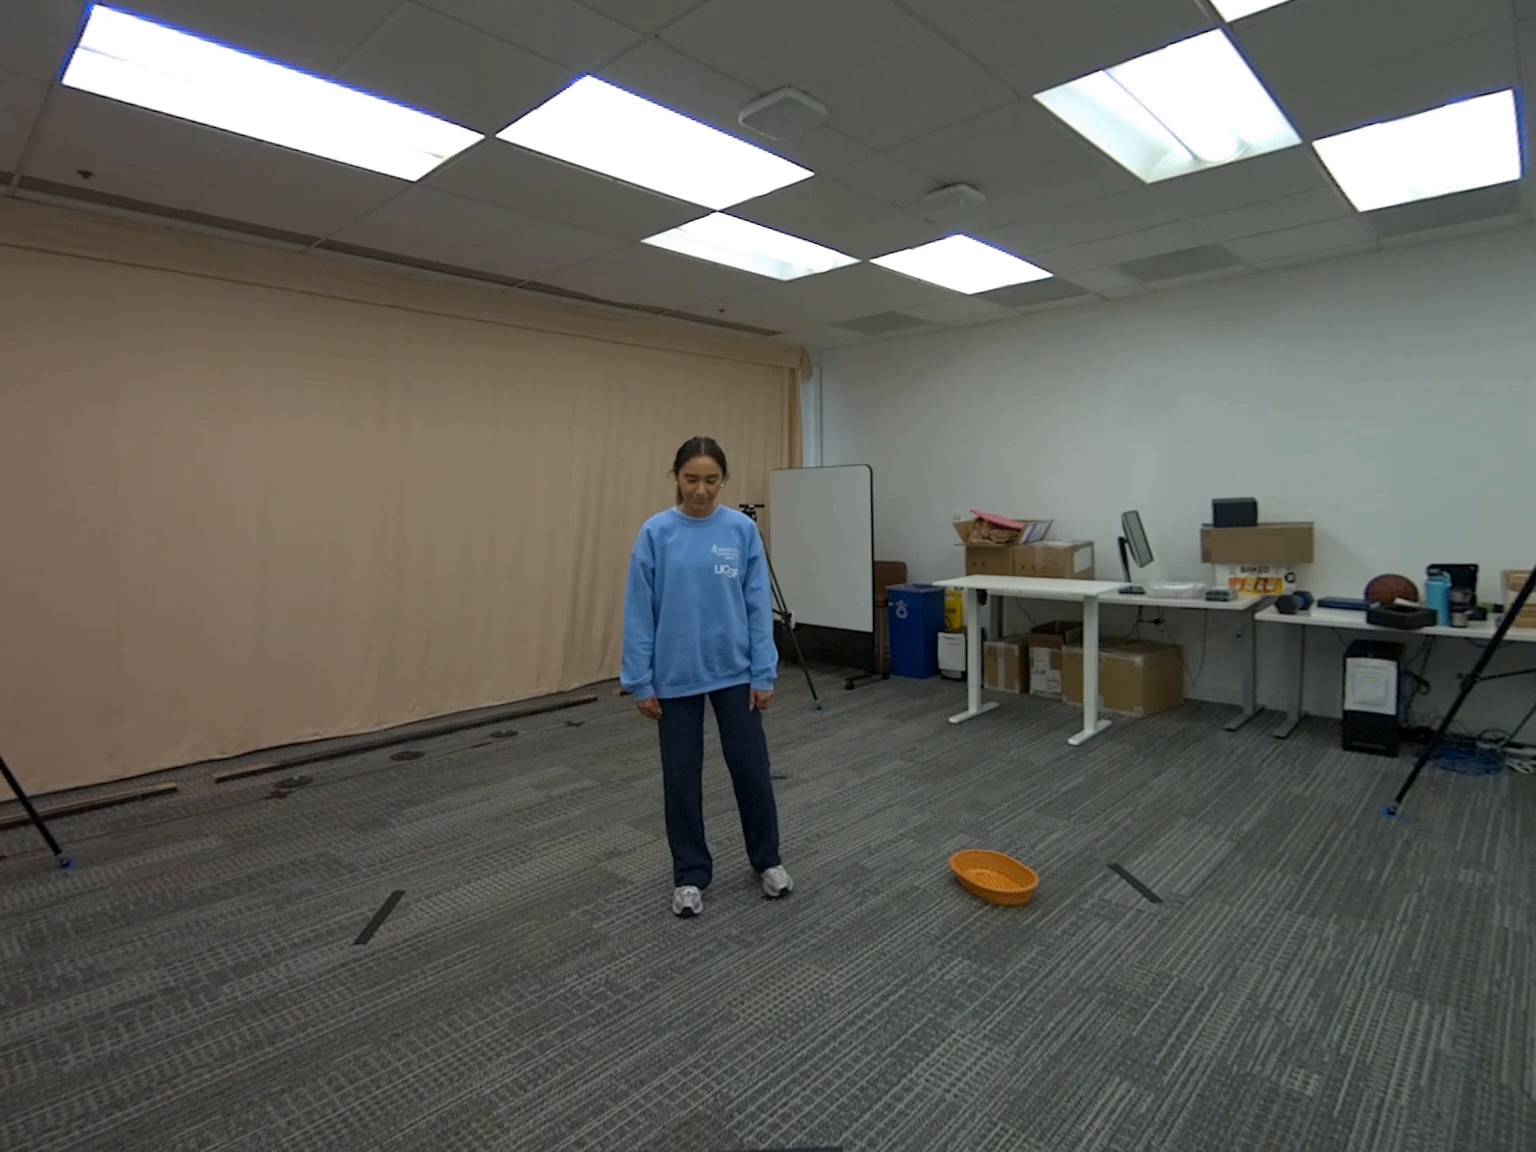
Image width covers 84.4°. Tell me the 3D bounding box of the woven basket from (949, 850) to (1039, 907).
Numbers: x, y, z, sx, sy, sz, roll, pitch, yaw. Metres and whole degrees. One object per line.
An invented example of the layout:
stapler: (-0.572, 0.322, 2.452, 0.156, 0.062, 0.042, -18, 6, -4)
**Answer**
woven basket: (0.808, 1.085, 3.013, 0.247, 0.073, 0.359, -4, 6, -22)
